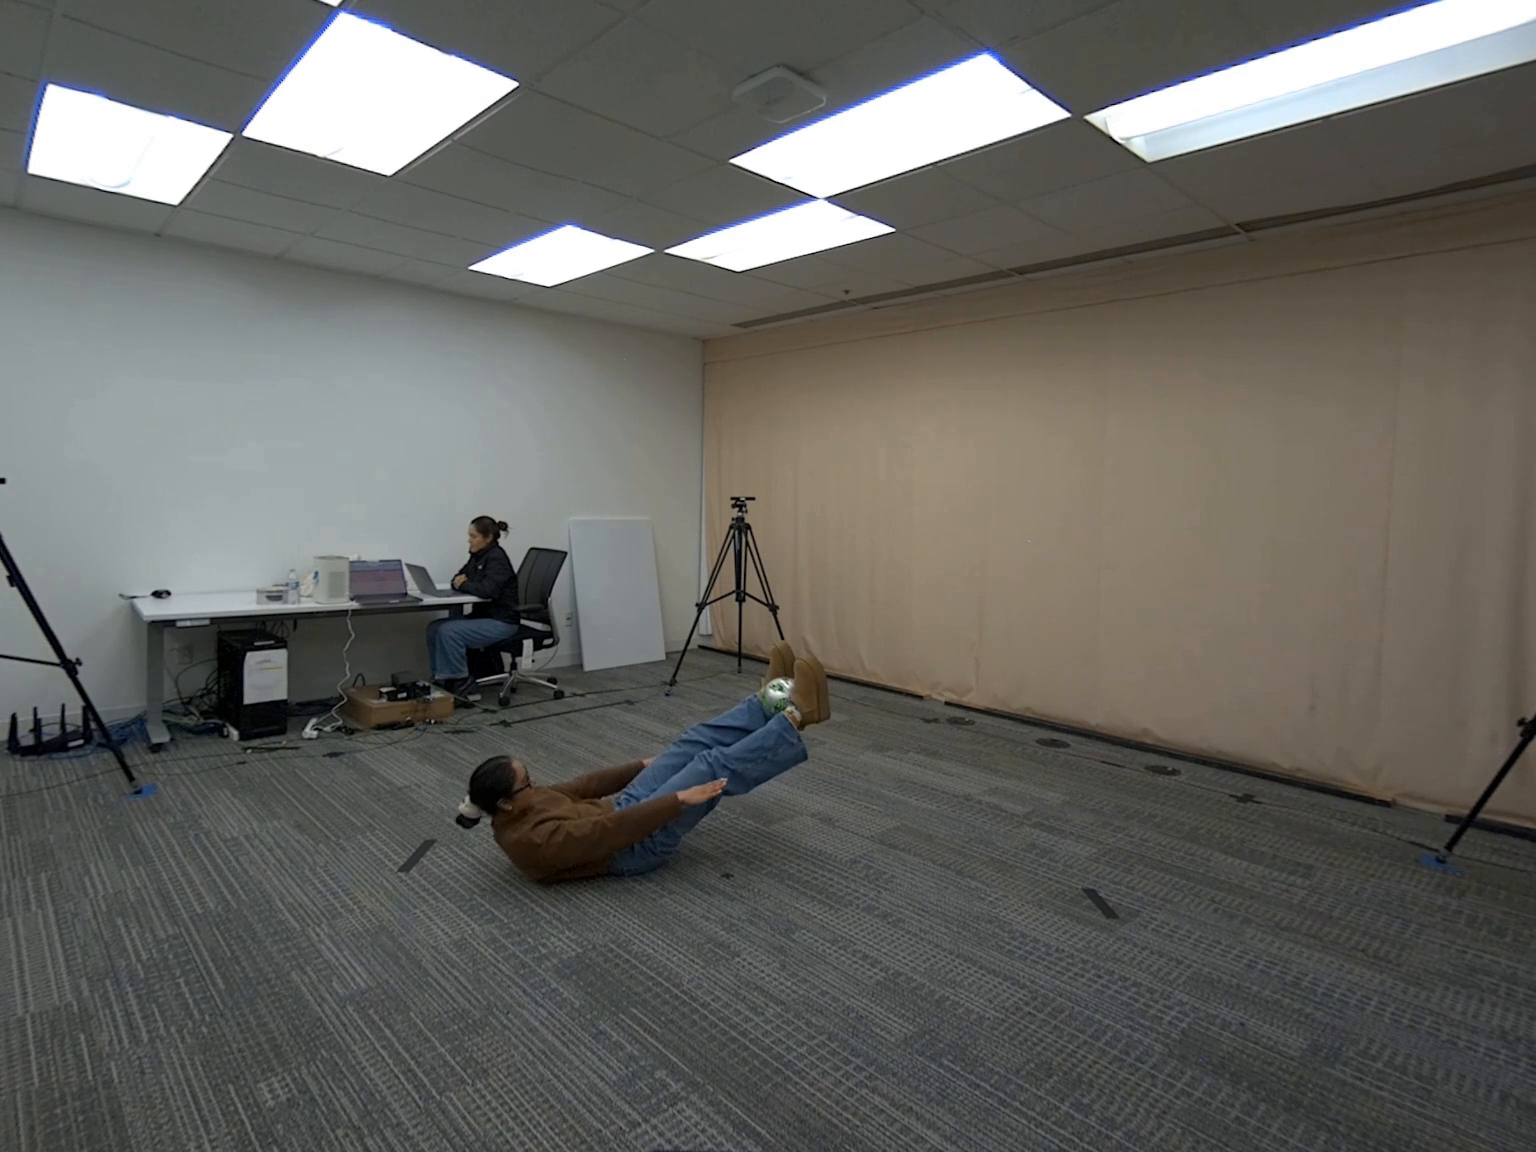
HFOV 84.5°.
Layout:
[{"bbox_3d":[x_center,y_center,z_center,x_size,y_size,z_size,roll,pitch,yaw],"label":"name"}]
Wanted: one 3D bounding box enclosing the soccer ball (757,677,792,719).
[{"bbox_3d":[0.049,0.506,3.450,0.187,0.187,0.188,1,4,-1],"label":"soccer ball"}]
